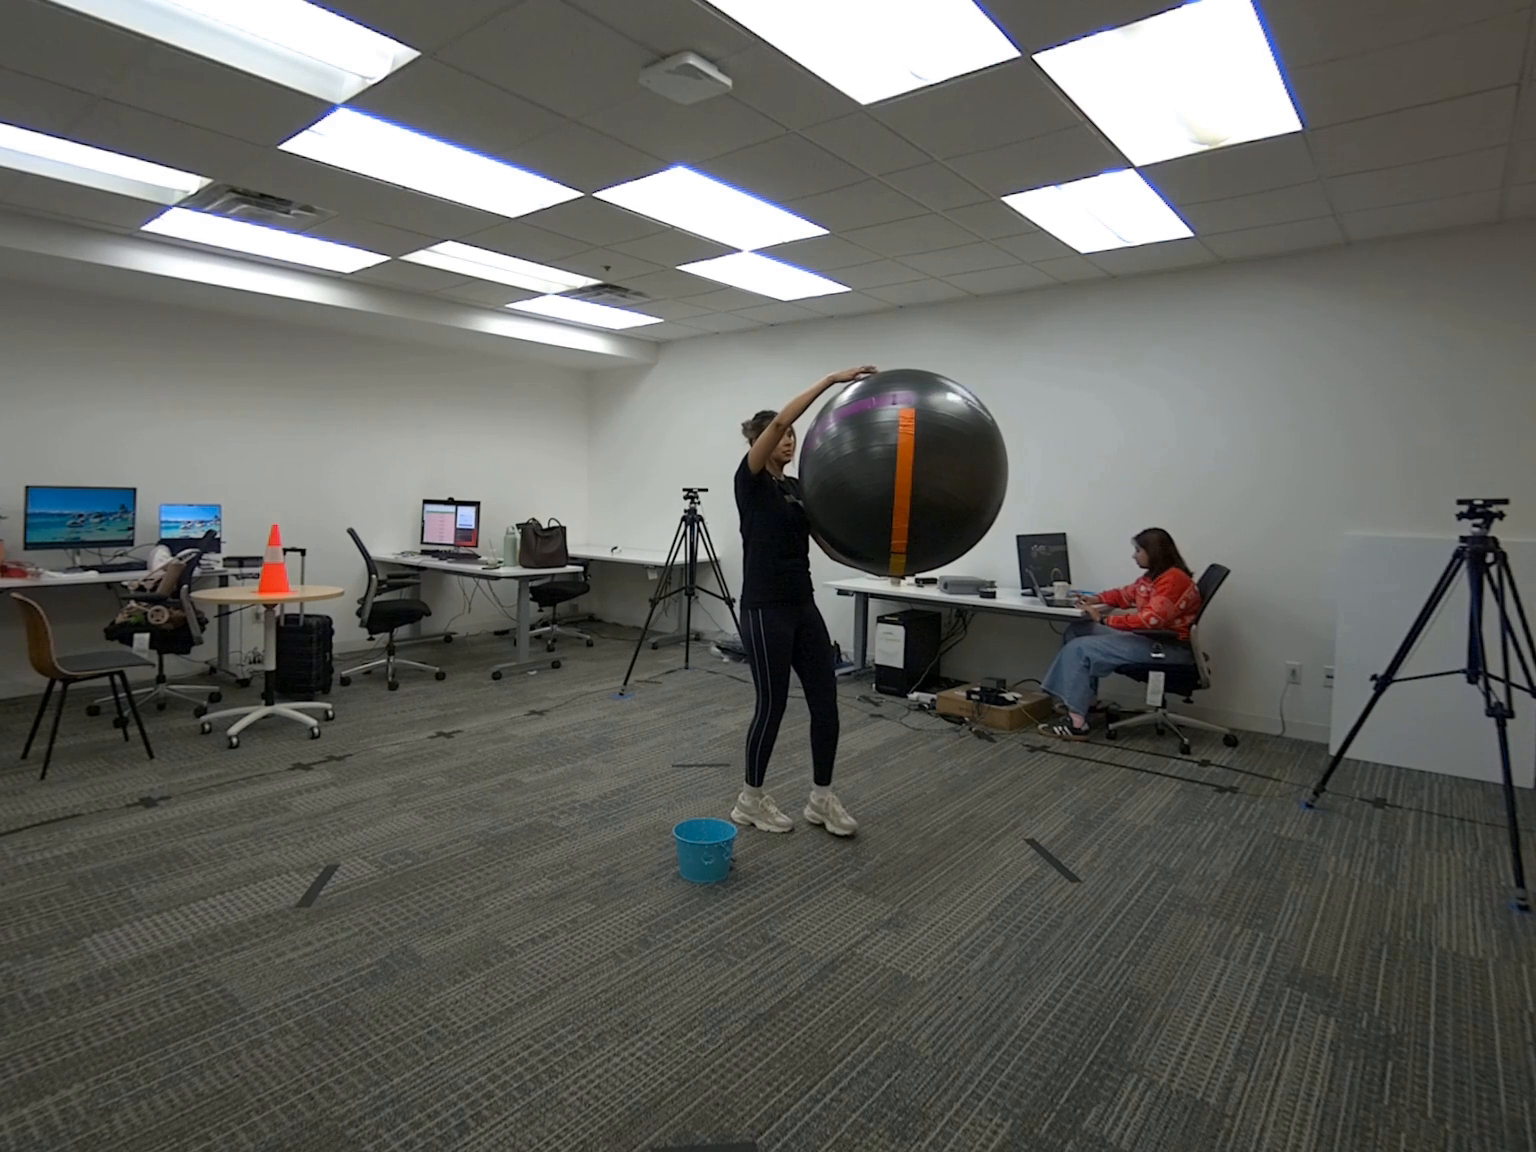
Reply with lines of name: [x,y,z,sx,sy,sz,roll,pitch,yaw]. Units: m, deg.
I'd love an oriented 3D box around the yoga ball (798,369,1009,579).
yoga ball: [0.489,-0.381,3.145,0.757,0.756,0.761,1,4,-2]
